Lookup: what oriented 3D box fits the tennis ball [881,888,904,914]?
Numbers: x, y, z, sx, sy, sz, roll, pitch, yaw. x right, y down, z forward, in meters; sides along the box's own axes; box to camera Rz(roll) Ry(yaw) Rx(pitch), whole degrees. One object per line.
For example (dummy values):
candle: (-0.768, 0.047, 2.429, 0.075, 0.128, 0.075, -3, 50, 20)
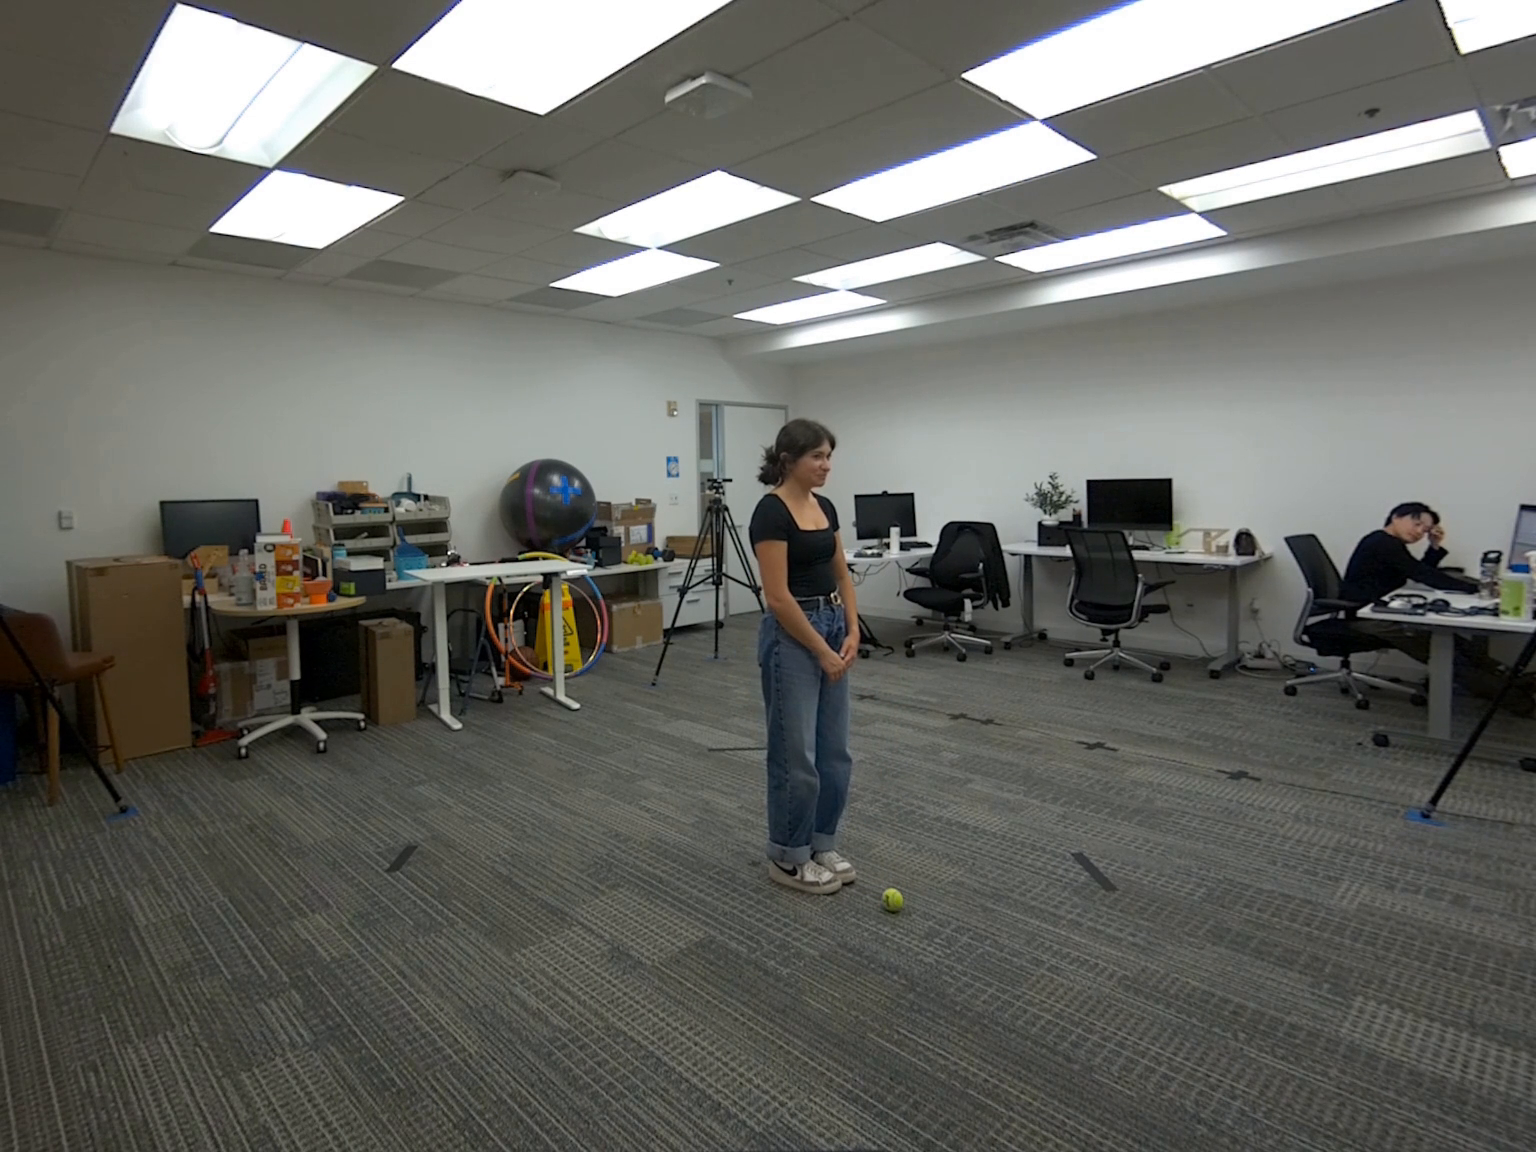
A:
tennis ball: (0.414, 1.031, 2.750, 0.066, 0.066, 0.067, -1, 5, -2)
